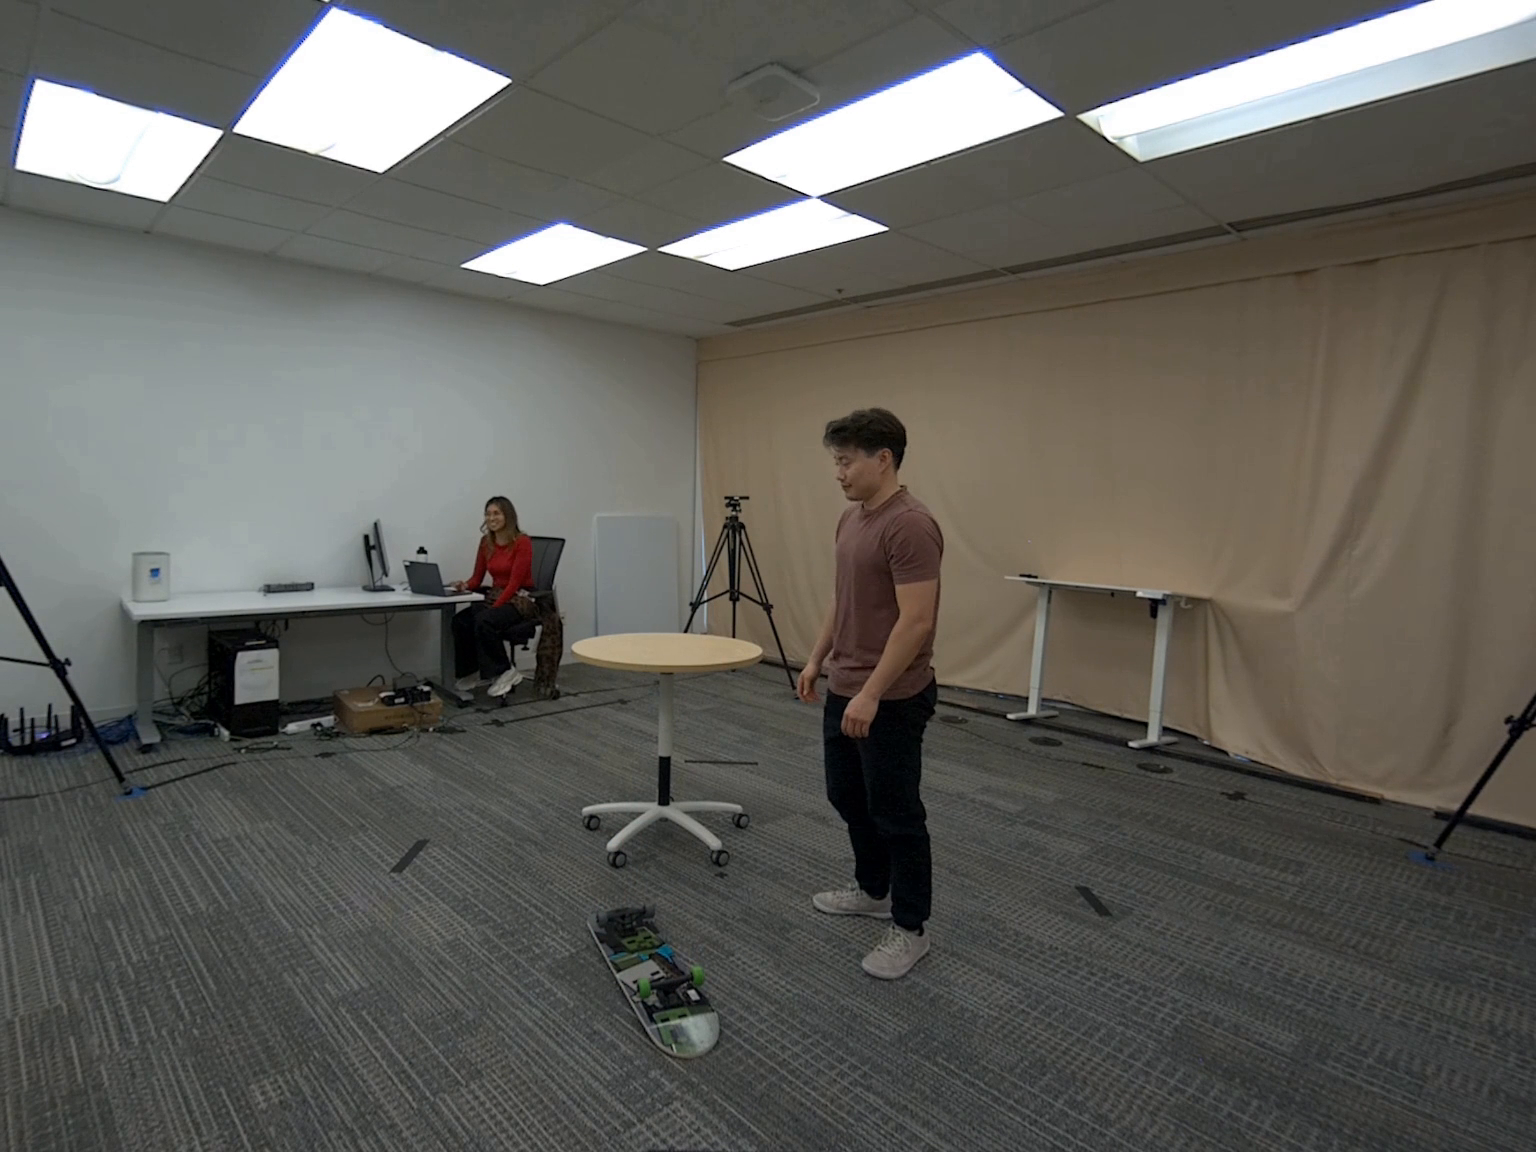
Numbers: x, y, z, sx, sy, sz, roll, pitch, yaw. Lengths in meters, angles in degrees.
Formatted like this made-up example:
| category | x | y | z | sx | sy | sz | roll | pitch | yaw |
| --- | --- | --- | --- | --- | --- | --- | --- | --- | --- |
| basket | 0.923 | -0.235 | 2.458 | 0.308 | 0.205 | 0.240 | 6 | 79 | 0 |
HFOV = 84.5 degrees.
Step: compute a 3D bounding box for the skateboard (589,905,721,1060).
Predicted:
| category | x | y | z | sx | sy | sz | roll | pitch | yaw |
| --- | --- | --- | --- | --- | --- | --- | --- | --- | --- |
| skateboard | -0.355 | 1.099 | 2.450 | 0.190 | 0.110 | 0.802 | -1 | 6 | -27 |
